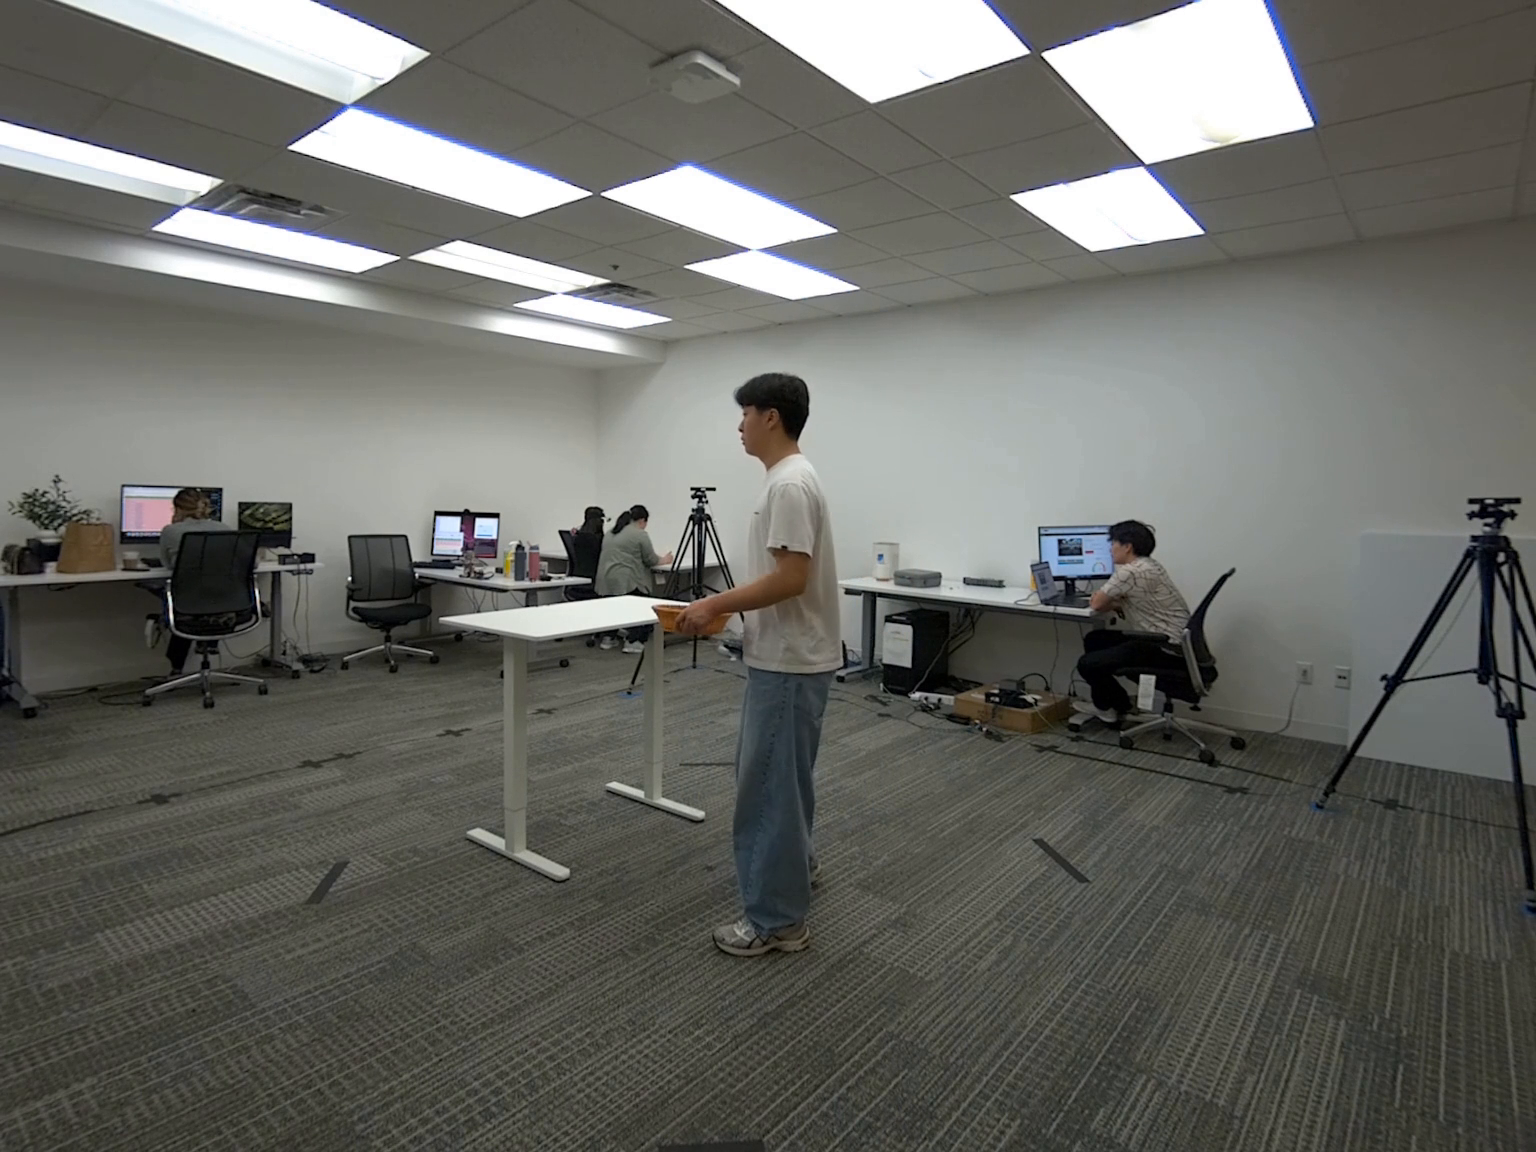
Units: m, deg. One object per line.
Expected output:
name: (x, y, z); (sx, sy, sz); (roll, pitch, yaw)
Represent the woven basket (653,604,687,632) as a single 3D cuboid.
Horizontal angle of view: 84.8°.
woven basket: (-0.210, 0.139, 2.720); (0.254, 0.073, 0.349); (4, 1, 3)
